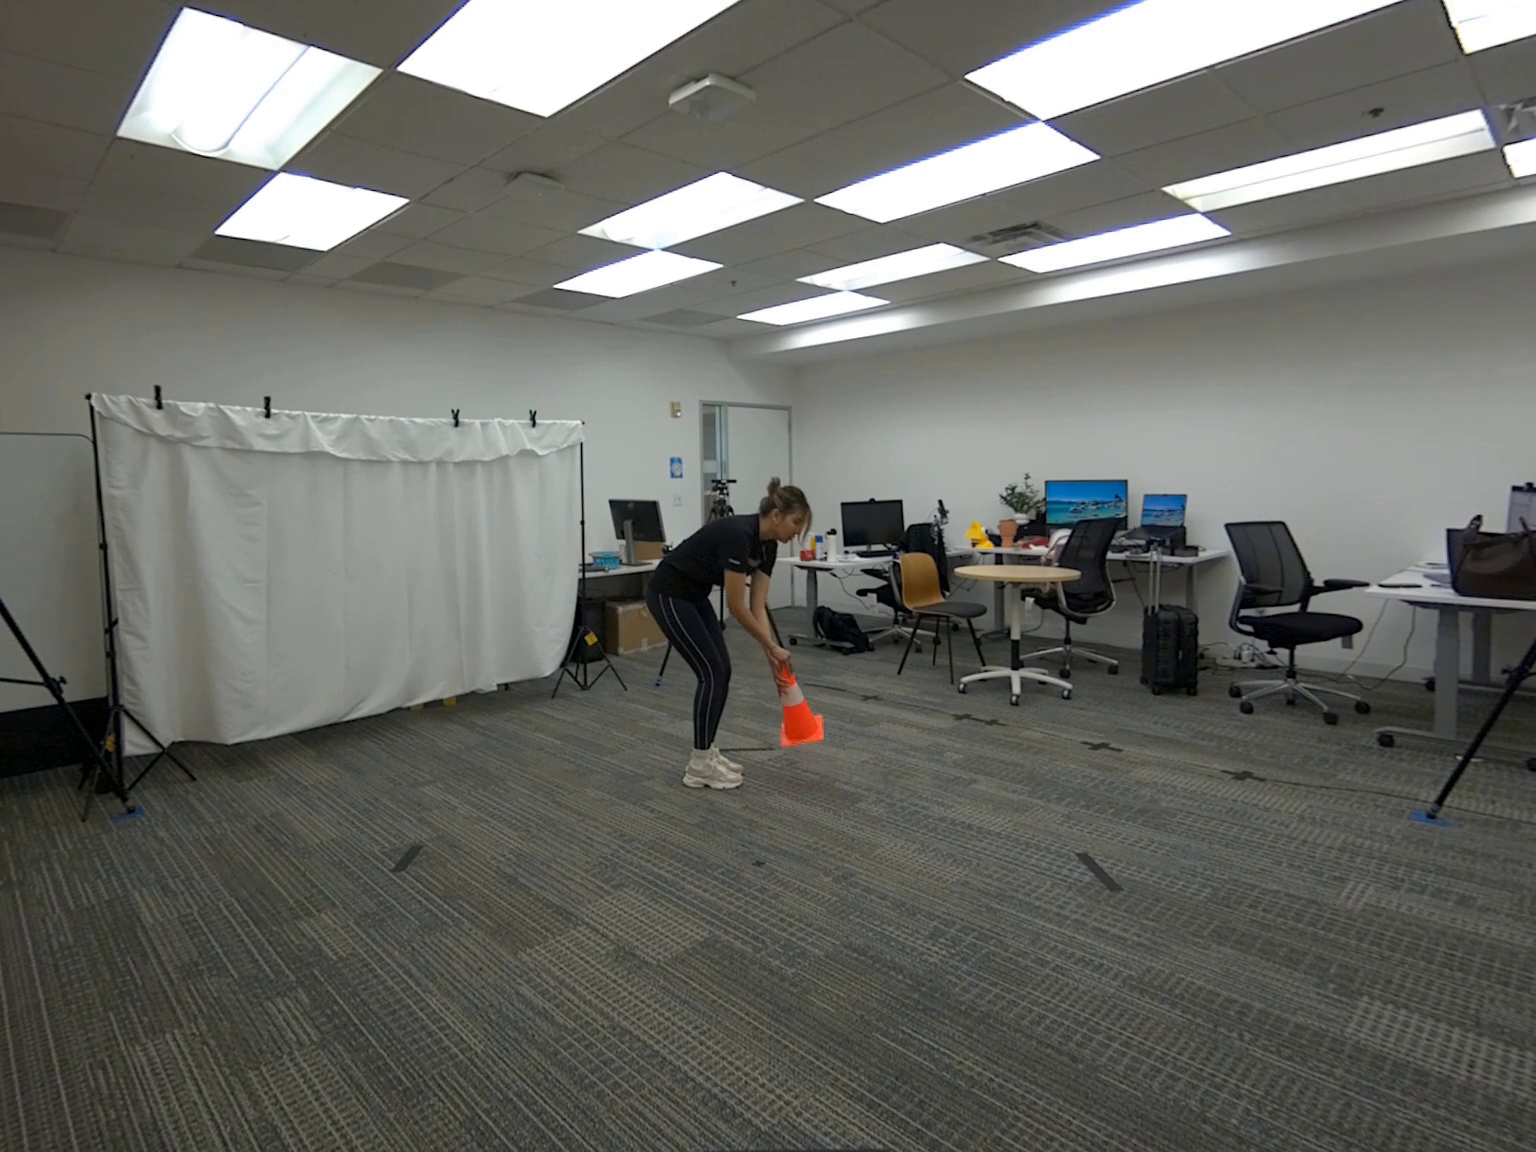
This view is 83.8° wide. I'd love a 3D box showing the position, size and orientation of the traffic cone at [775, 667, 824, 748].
[{"bbox_3d":[0.119,0.547,3.889,0.205,0.376,0.207,-11,19,14],"label":"traffic cone"}]
